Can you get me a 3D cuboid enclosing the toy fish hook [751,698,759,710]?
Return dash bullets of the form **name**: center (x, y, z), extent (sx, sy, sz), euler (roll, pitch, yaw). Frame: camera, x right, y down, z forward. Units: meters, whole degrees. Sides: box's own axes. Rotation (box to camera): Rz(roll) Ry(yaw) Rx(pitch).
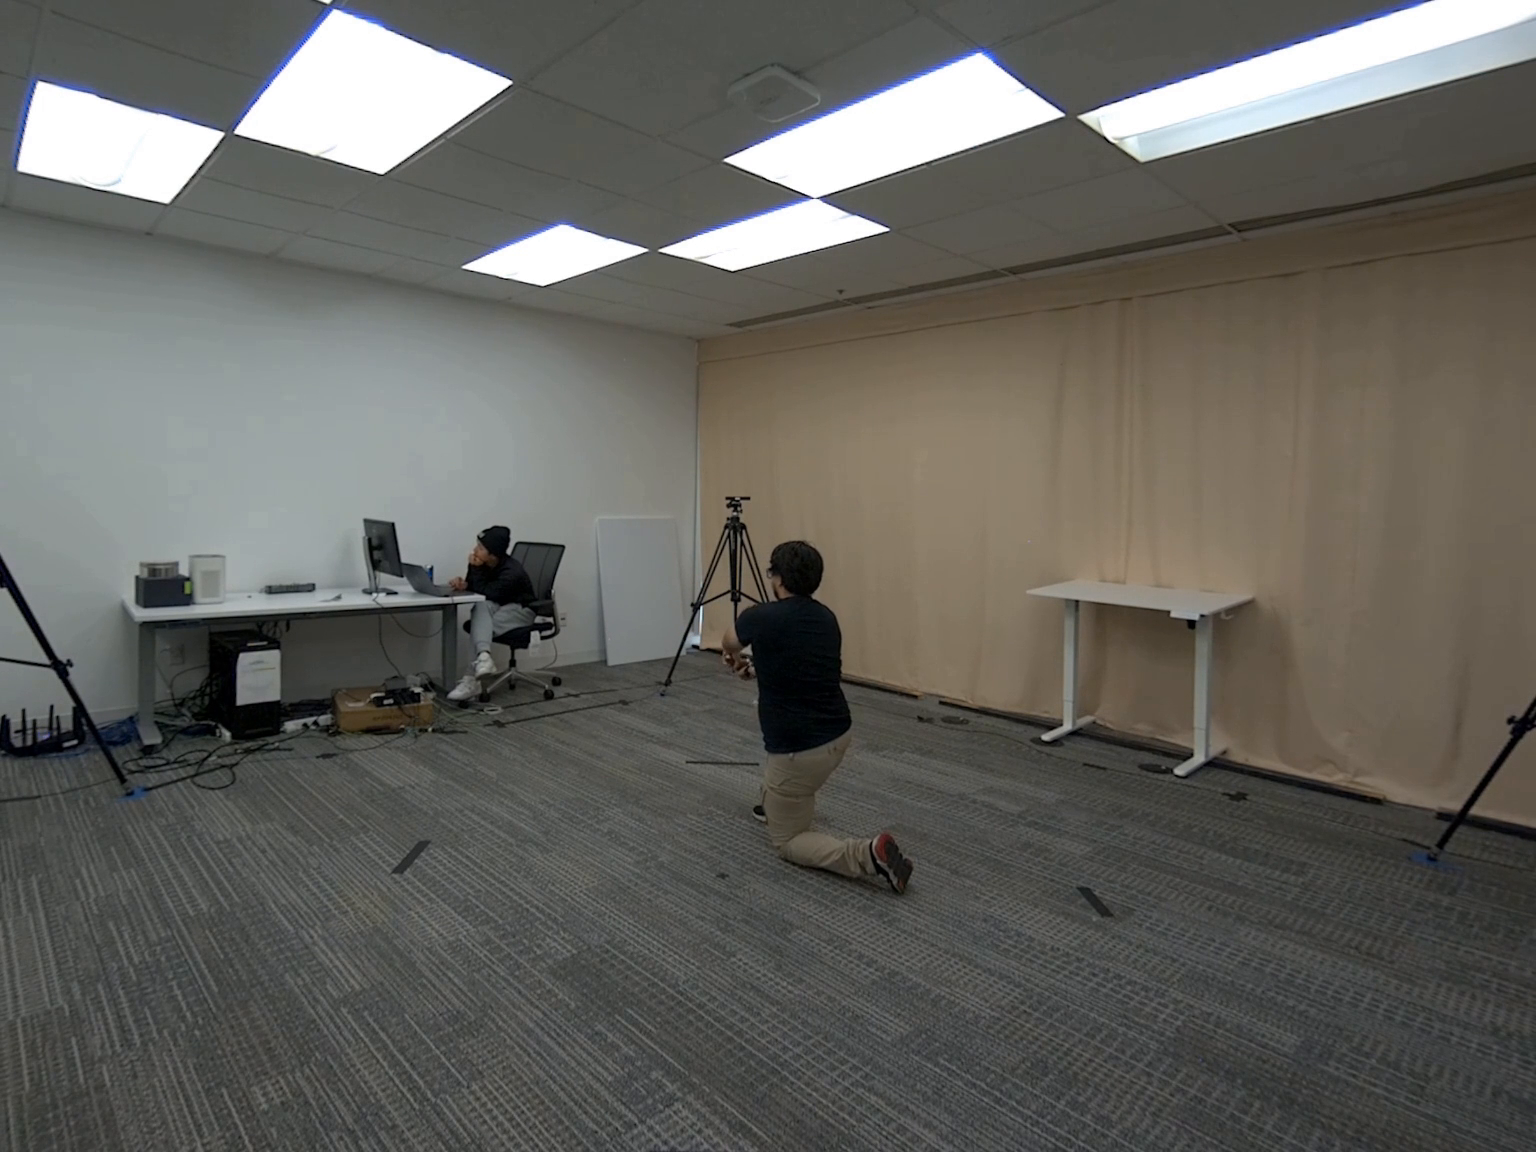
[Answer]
- **toy fish hook**: center (-0.048, 0.499, 3.856), extent (0.492, 0.224, 0.050), euler (30, 14, -32)
